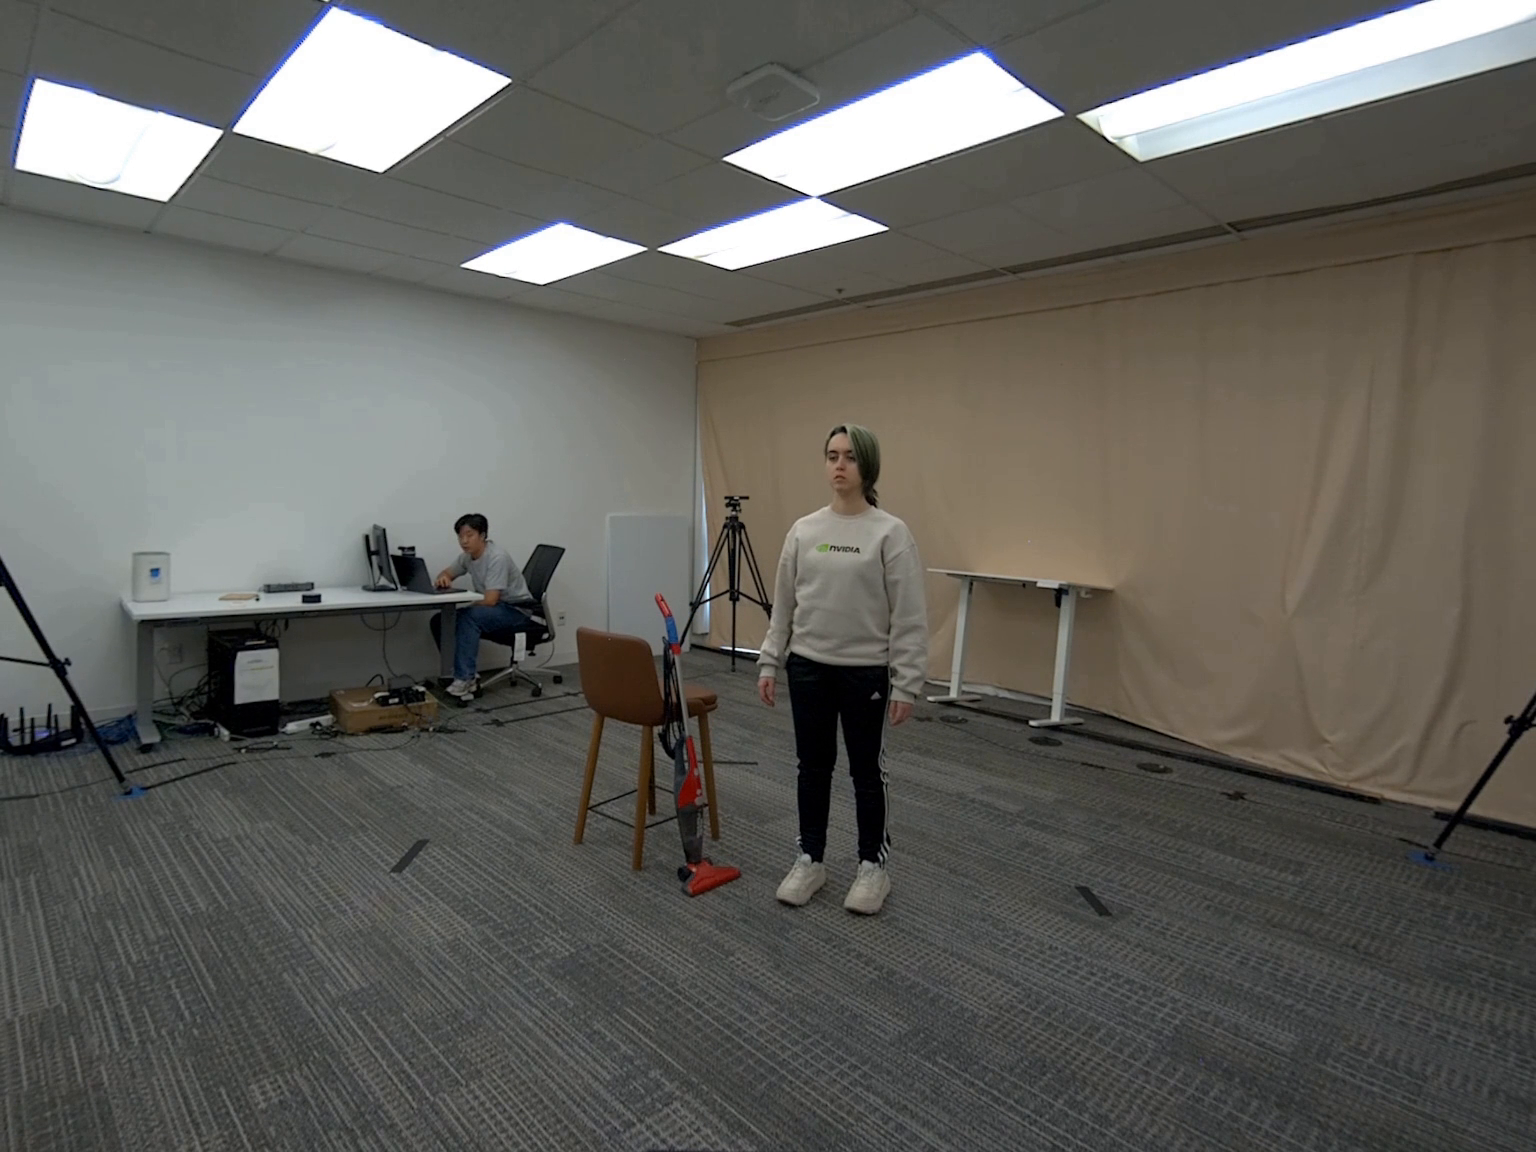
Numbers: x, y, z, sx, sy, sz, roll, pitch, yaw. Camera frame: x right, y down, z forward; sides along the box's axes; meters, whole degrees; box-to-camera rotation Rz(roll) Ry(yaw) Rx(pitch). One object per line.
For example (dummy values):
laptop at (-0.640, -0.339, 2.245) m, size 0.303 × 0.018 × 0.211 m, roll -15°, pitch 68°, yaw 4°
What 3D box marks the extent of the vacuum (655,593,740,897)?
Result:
vacuum at (-0.322, 0.591, 3.134) m, size 0.247 × 1.057 × 0.146 m, roll -3°, pitch -11°, yaw -38°
